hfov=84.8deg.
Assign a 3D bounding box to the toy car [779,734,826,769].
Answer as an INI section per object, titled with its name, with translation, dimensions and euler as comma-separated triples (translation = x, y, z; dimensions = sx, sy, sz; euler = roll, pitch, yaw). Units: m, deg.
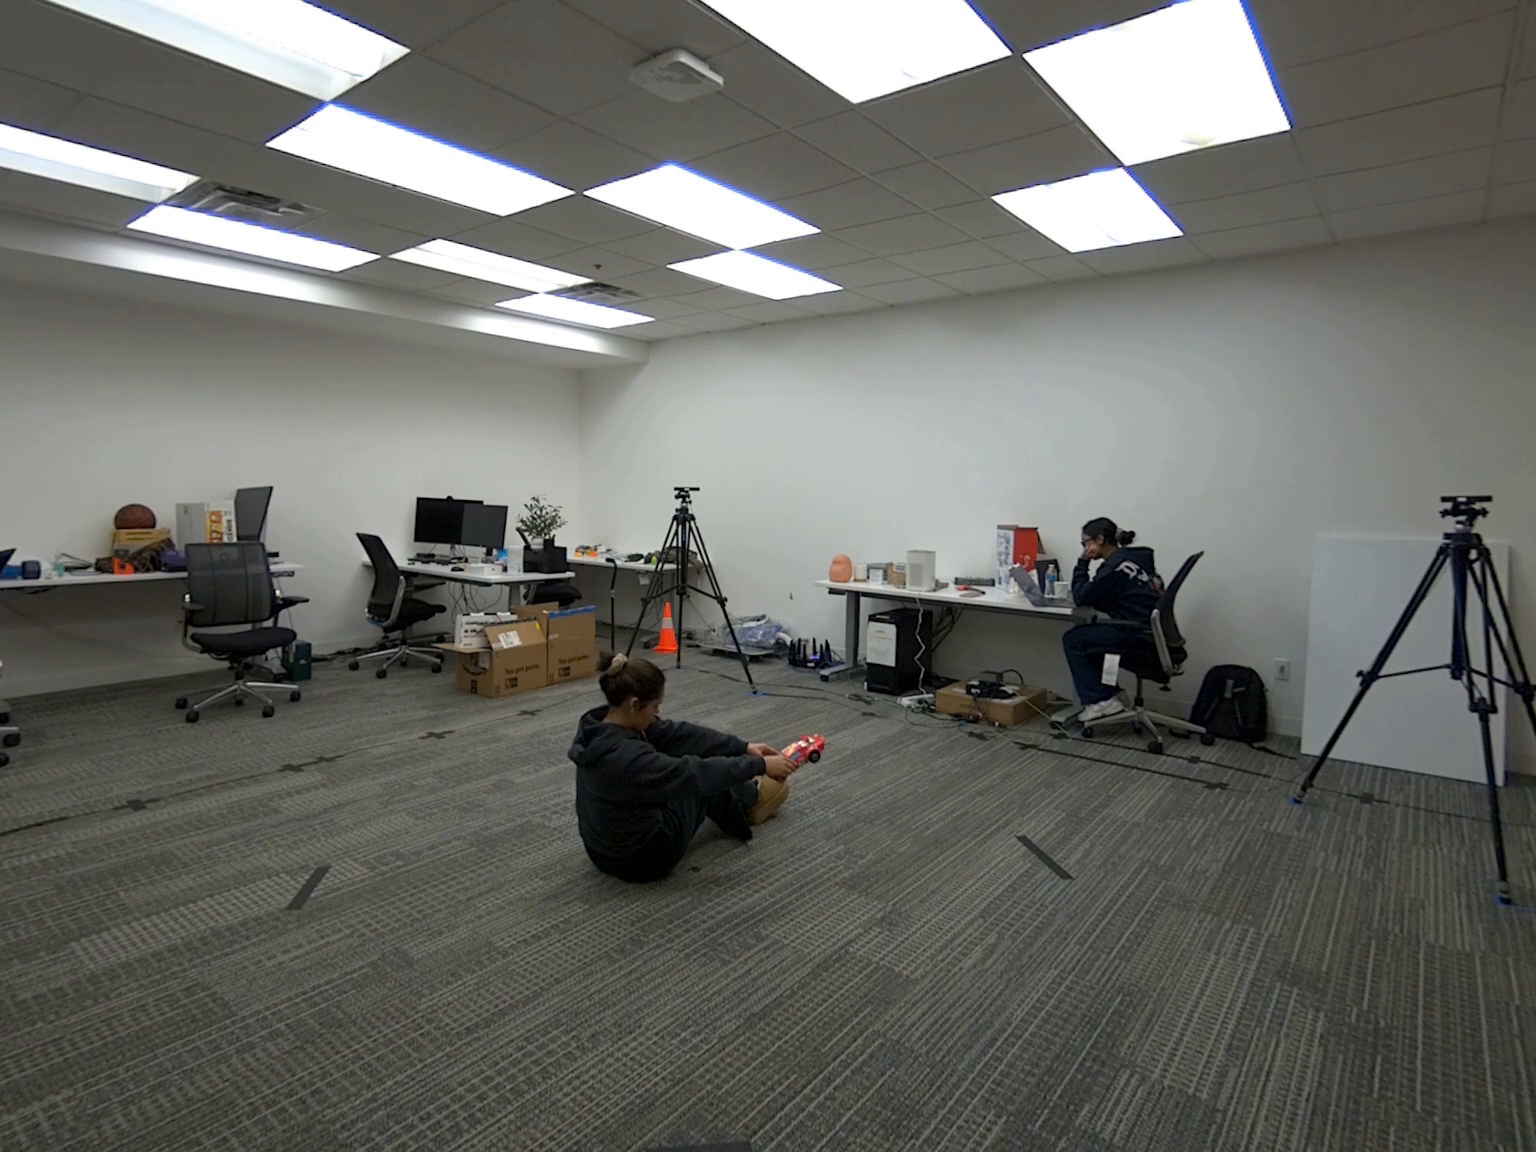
[toy car]
translation = 0.099, 0.667, 3.137
dimensions = 0.254, 0.081, 0.133
euler = -41, 18, -13
